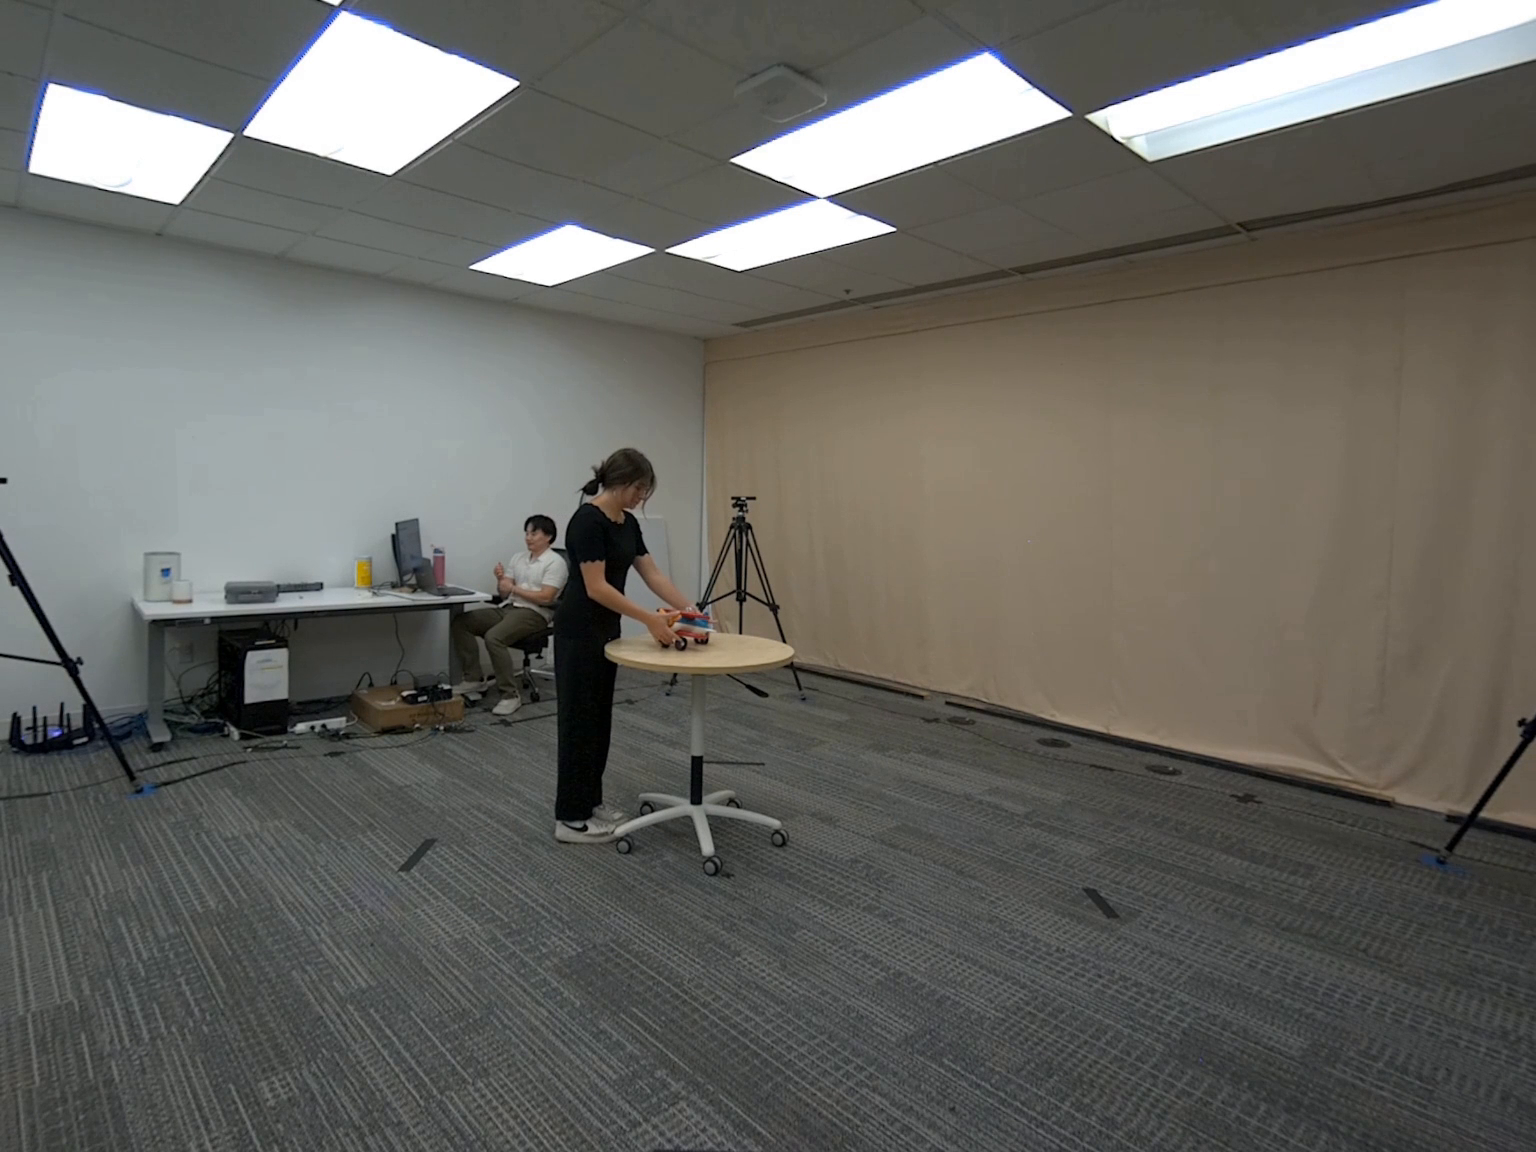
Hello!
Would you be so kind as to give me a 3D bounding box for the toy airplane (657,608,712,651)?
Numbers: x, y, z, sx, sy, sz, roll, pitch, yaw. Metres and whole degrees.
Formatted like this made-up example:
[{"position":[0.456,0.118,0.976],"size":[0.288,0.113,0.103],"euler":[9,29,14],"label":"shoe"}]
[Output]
[{"position":[-0.363,0.209,3.439],"size":[0.253,0.156,0.258],"euler":[3,6,8],"label":"toy airplane"}]
